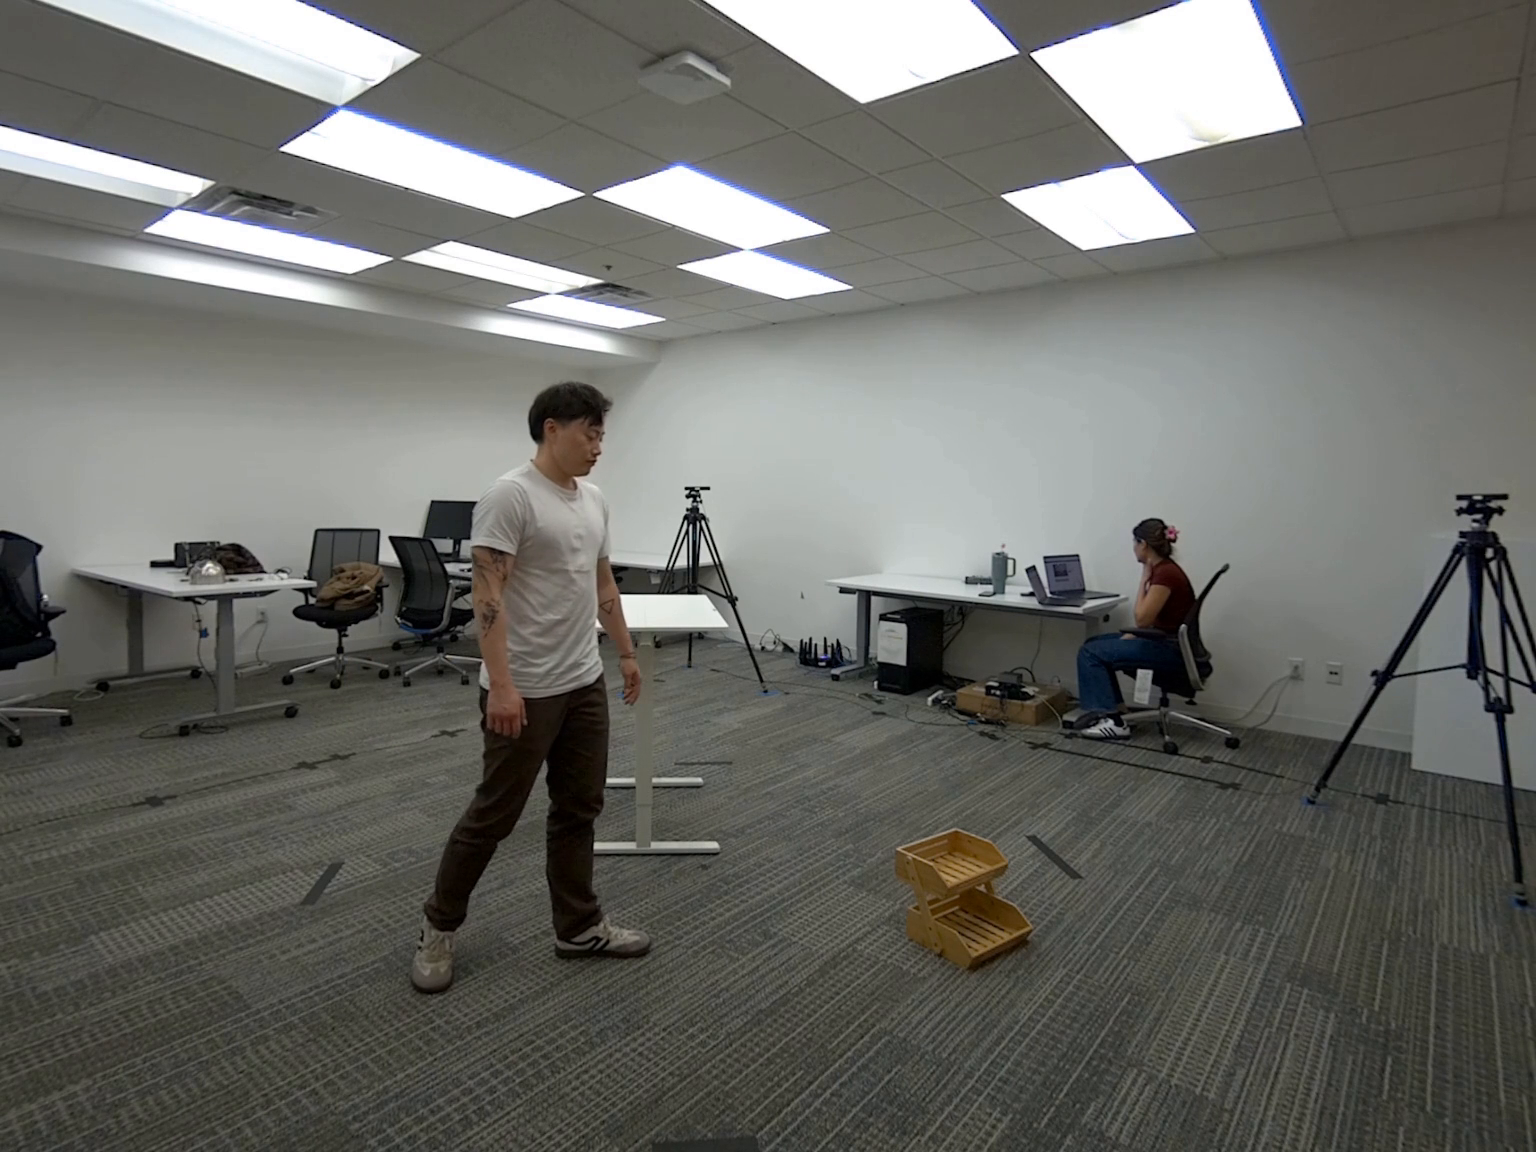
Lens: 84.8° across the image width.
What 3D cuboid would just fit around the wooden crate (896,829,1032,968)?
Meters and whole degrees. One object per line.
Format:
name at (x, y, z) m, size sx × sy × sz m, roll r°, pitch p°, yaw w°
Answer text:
wooden crate at (0.612, 0.994, 2.663) m, size 0.315 × 0.272 × 0.312 m, roll -2°, pitch 5°, yaw -38°
